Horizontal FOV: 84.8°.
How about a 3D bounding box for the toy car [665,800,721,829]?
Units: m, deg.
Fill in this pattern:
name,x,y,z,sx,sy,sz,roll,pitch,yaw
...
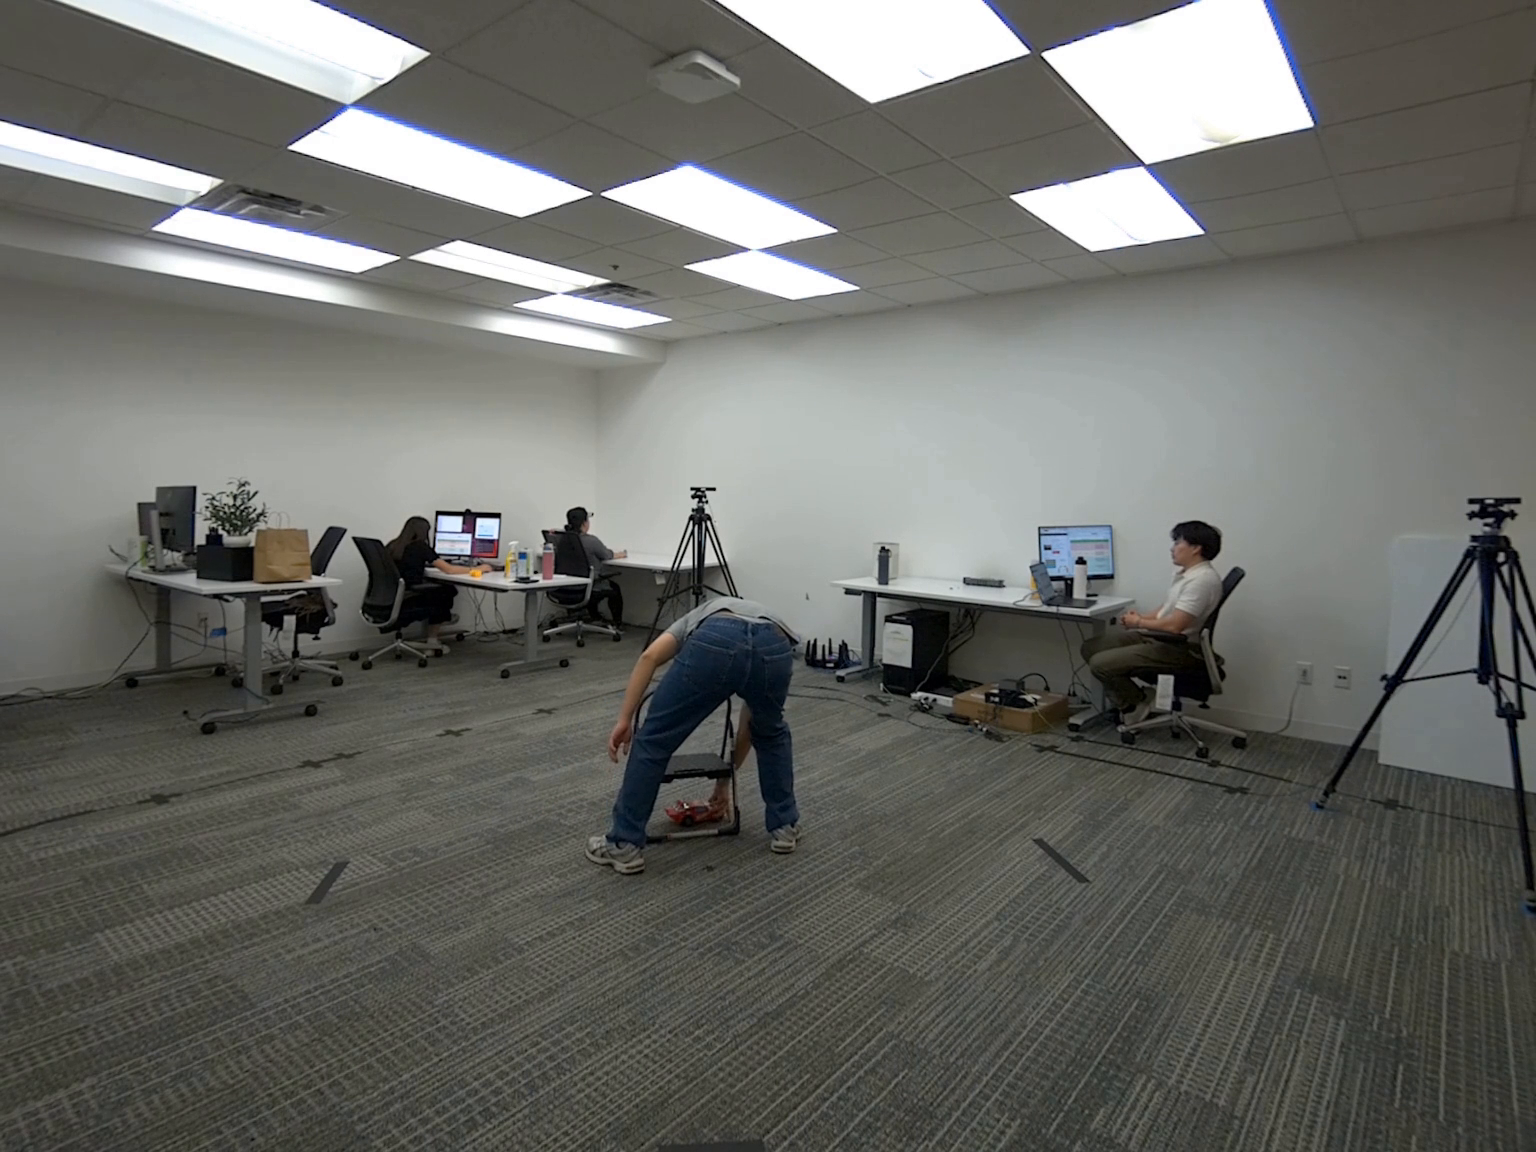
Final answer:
name,x,y,z,sx,sy,sz,roll,pitch,yaw
toy car,-0.312,0.995,3.562,0.247,0.083,0.134,13,-1,-26
